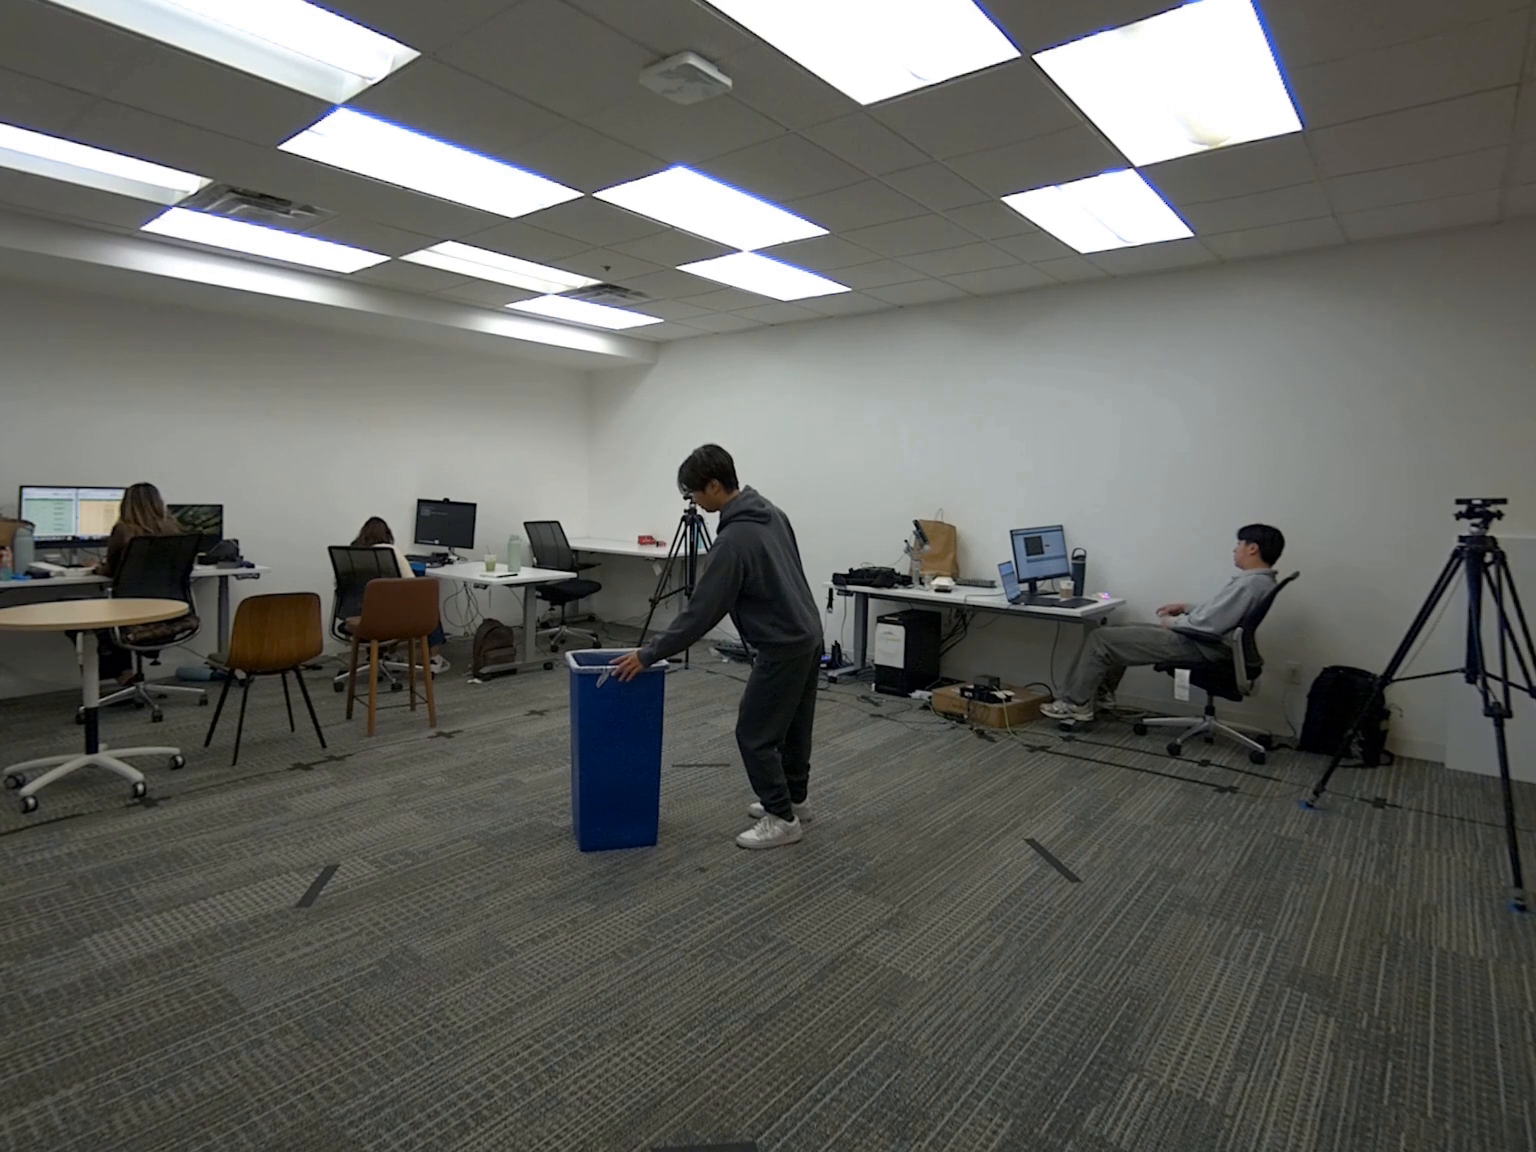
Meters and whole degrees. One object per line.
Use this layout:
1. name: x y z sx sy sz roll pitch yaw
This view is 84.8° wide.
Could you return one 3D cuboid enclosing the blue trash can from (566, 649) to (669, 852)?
1. blue trash can: -0.631 0.681 3.410 0.372 0.712 0.381 0 3 -17
